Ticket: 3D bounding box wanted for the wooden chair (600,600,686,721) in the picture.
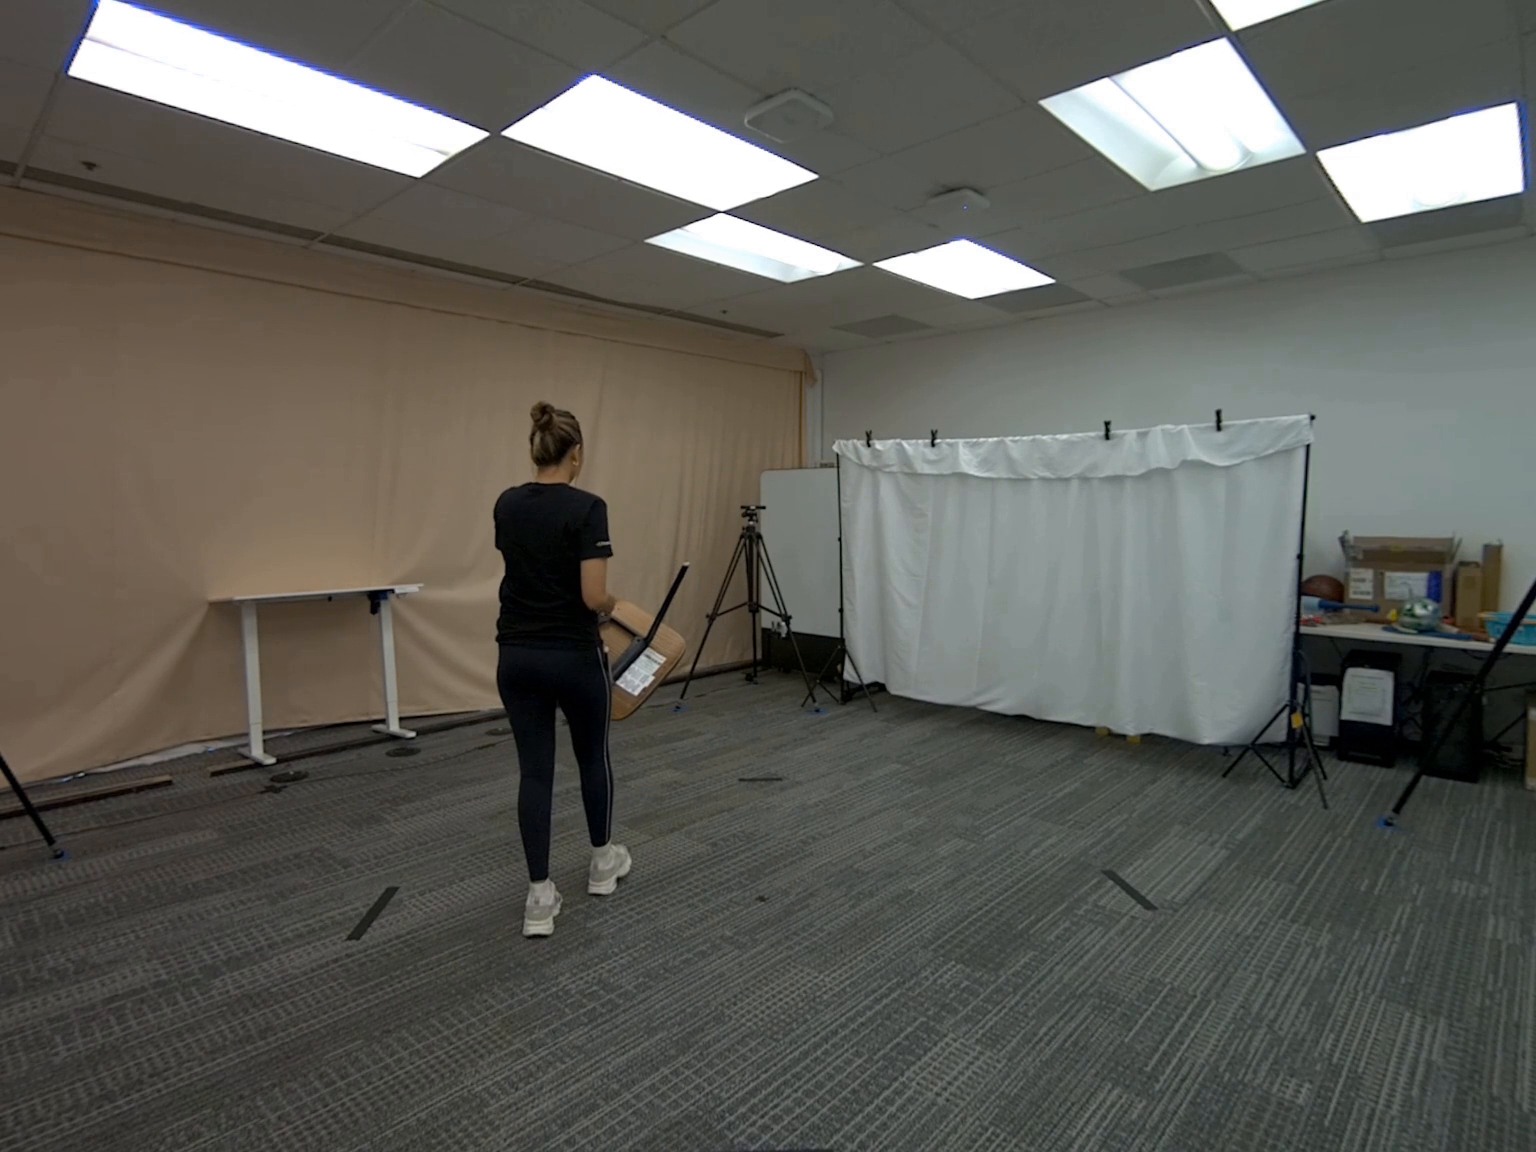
[{"bbox_3d":[-0.611,0.267,3.184,0.534,0.866,0.475,30,53,15],"label":"wooden chair"}]
